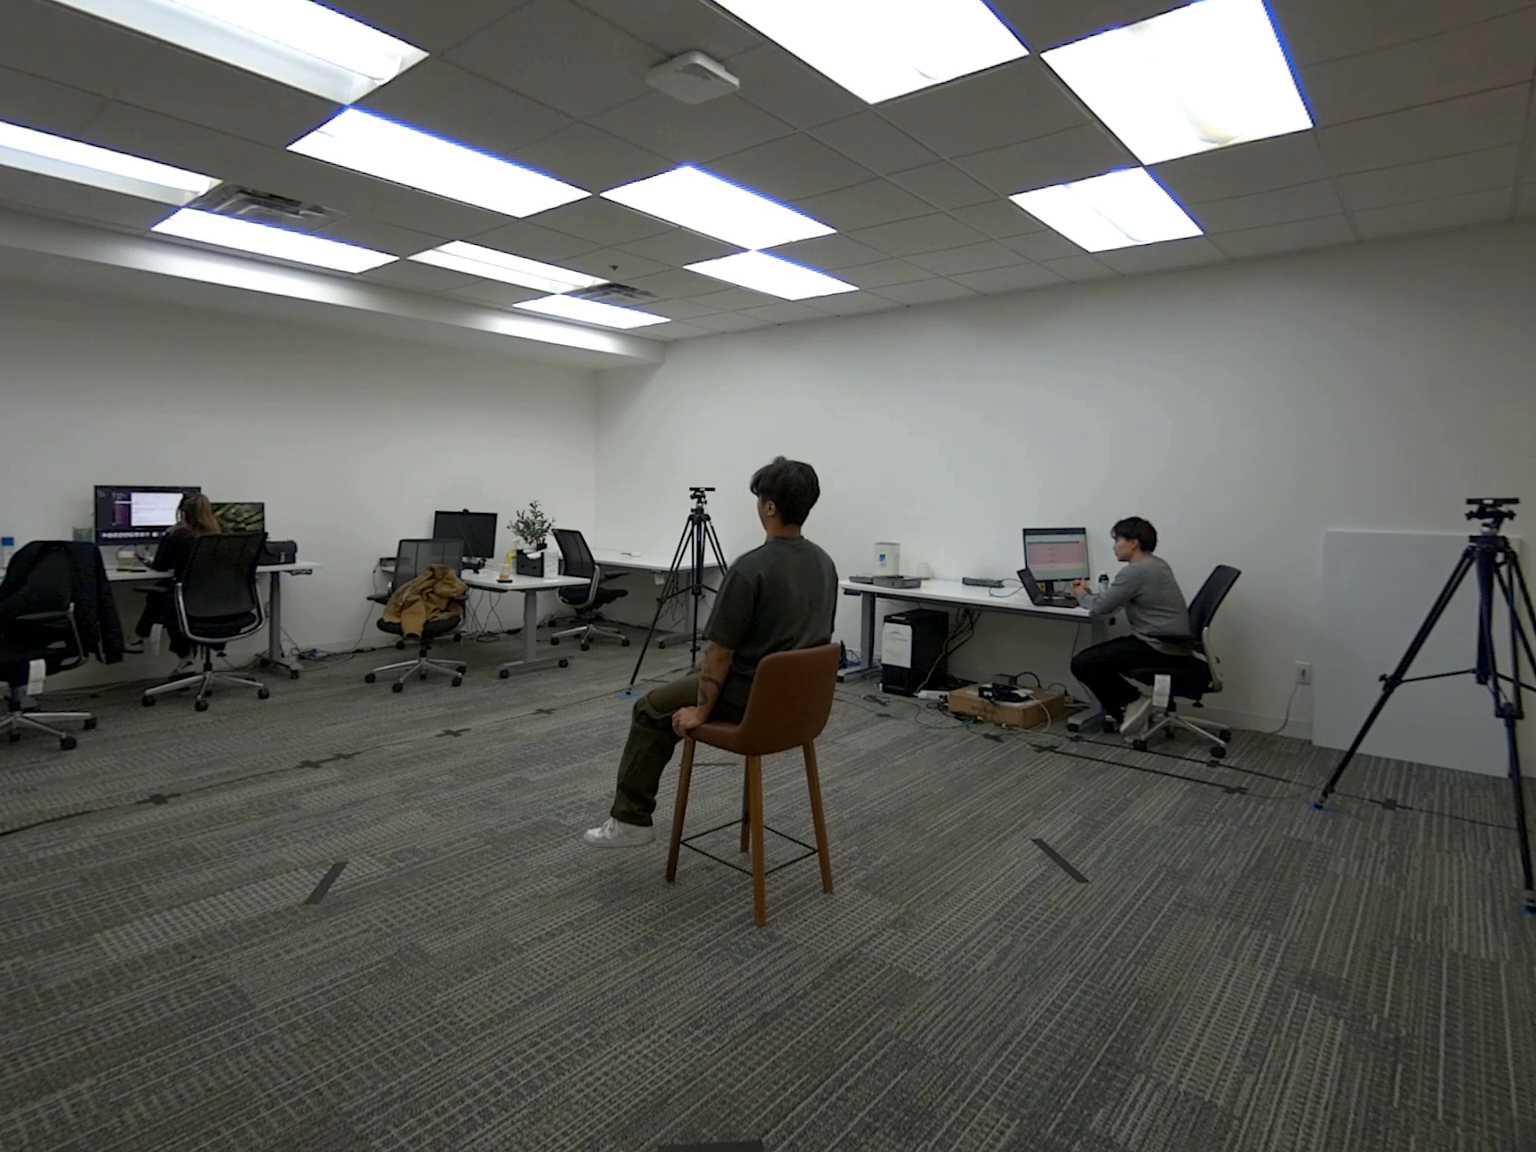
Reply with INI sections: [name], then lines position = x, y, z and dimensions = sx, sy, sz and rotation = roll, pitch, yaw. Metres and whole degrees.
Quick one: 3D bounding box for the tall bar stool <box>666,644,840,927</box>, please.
[tall bar stool]
position = -0.050, 0.648, 2.953
dimensions = 0.484, 0.886, 0.442
rotation = 7, 6, 43
